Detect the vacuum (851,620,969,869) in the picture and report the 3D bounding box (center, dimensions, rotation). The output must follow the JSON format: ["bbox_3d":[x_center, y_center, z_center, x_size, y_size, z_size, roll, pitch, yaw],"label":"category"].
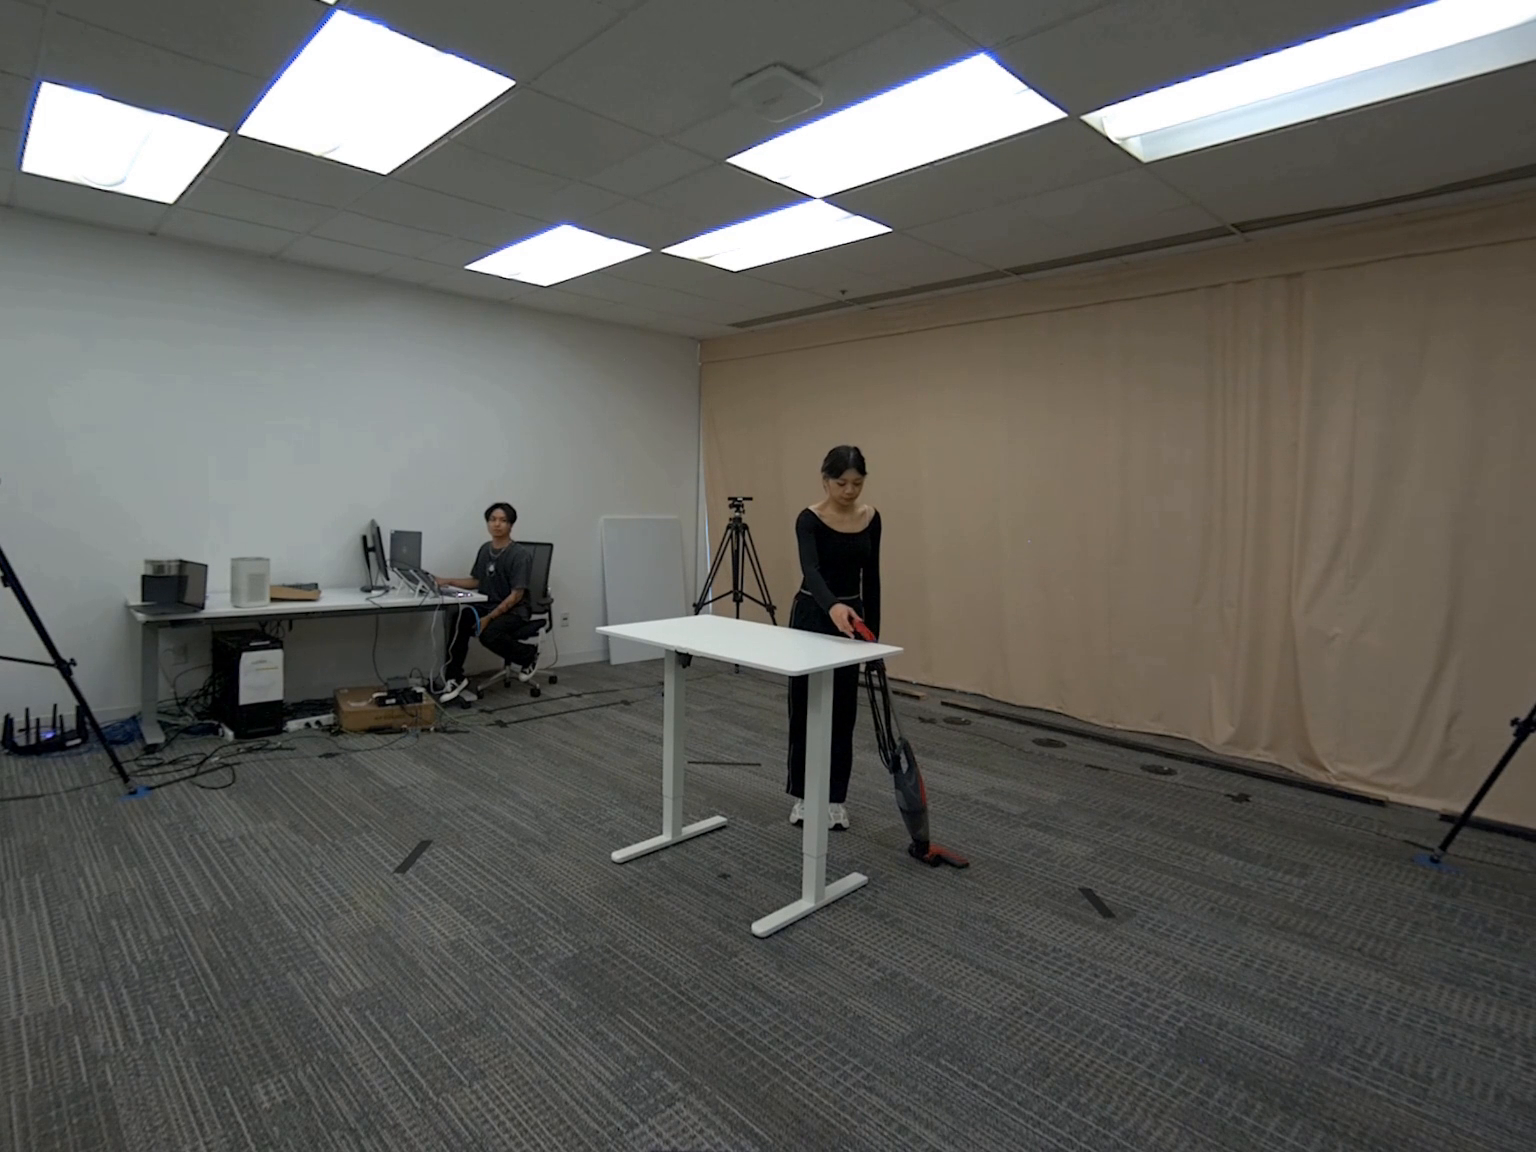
[{"bbox_3d":[0.477,0.642,3.159,0.143,1.032,0.259,-29,20,-28],"label":"vacuum"}]
